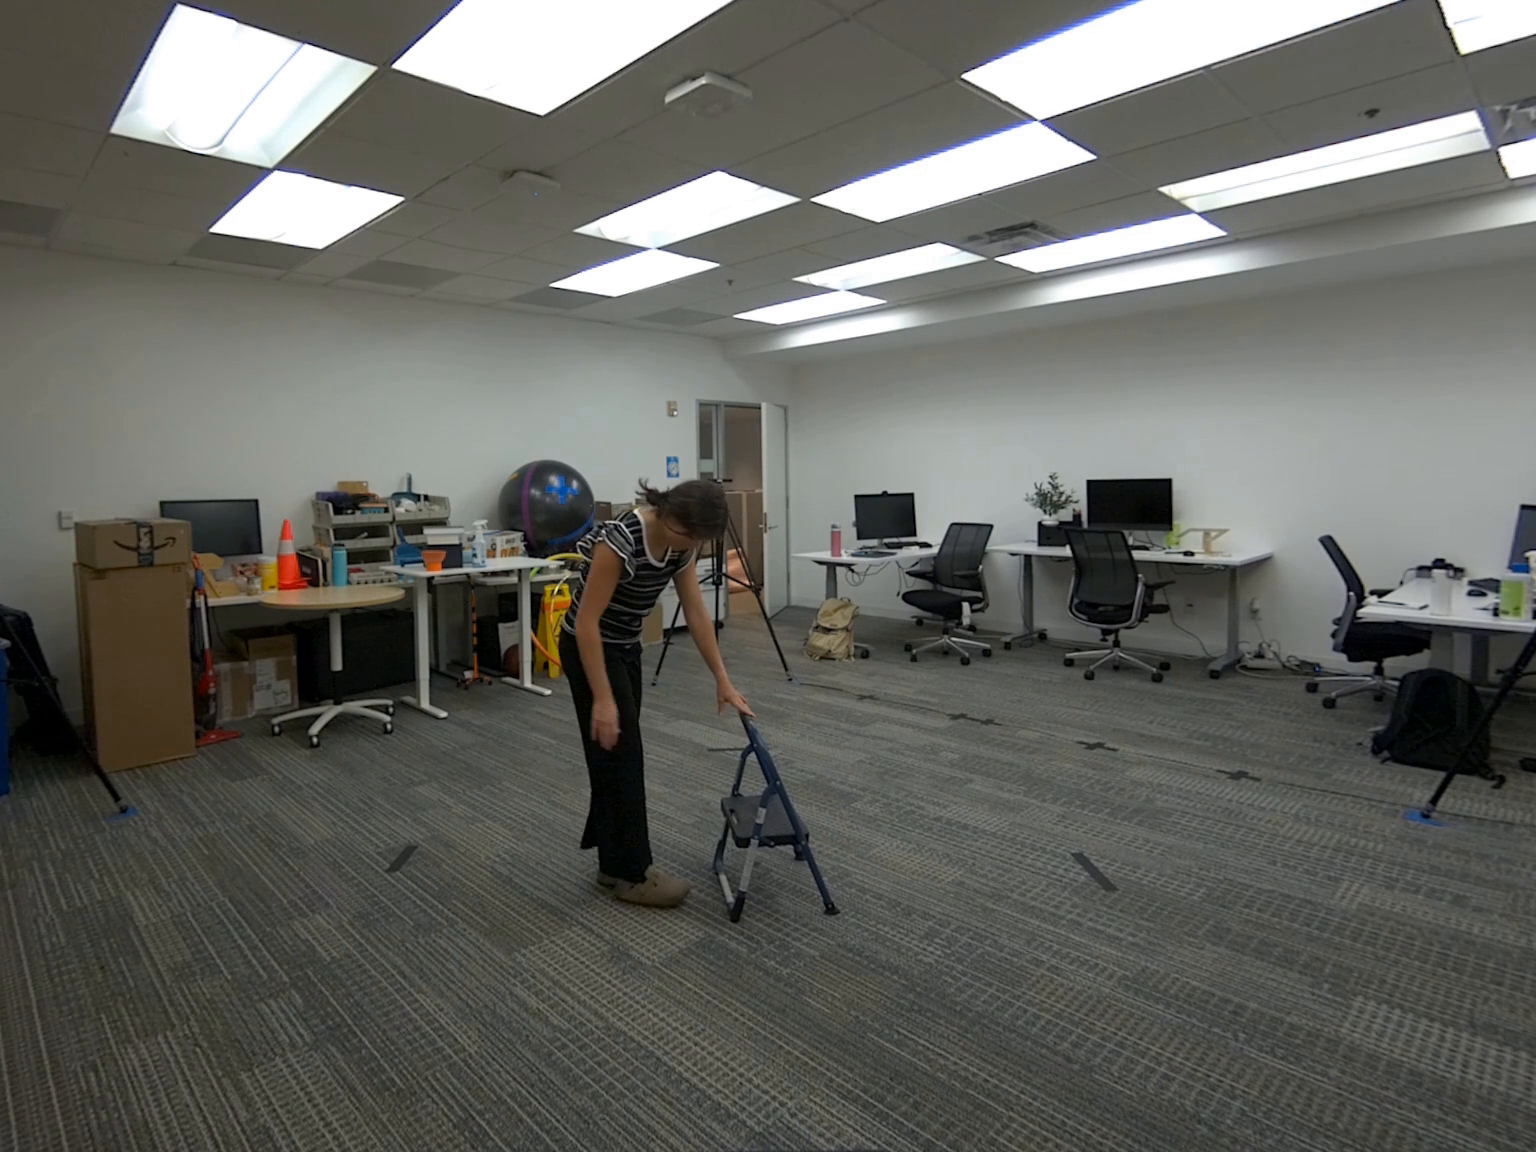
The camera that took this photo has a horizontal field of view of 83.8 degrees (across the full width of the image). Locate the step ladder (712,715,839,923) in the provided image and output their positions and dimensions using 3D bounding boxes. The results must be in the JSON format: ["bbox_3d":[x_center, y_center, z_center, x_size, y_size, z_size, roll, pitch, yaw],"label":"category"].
[{"bbox_3d":[0.001,0.762,2.898,0.346,0.604,0.437,-2,5,-12],"label":"step ladder"}]
